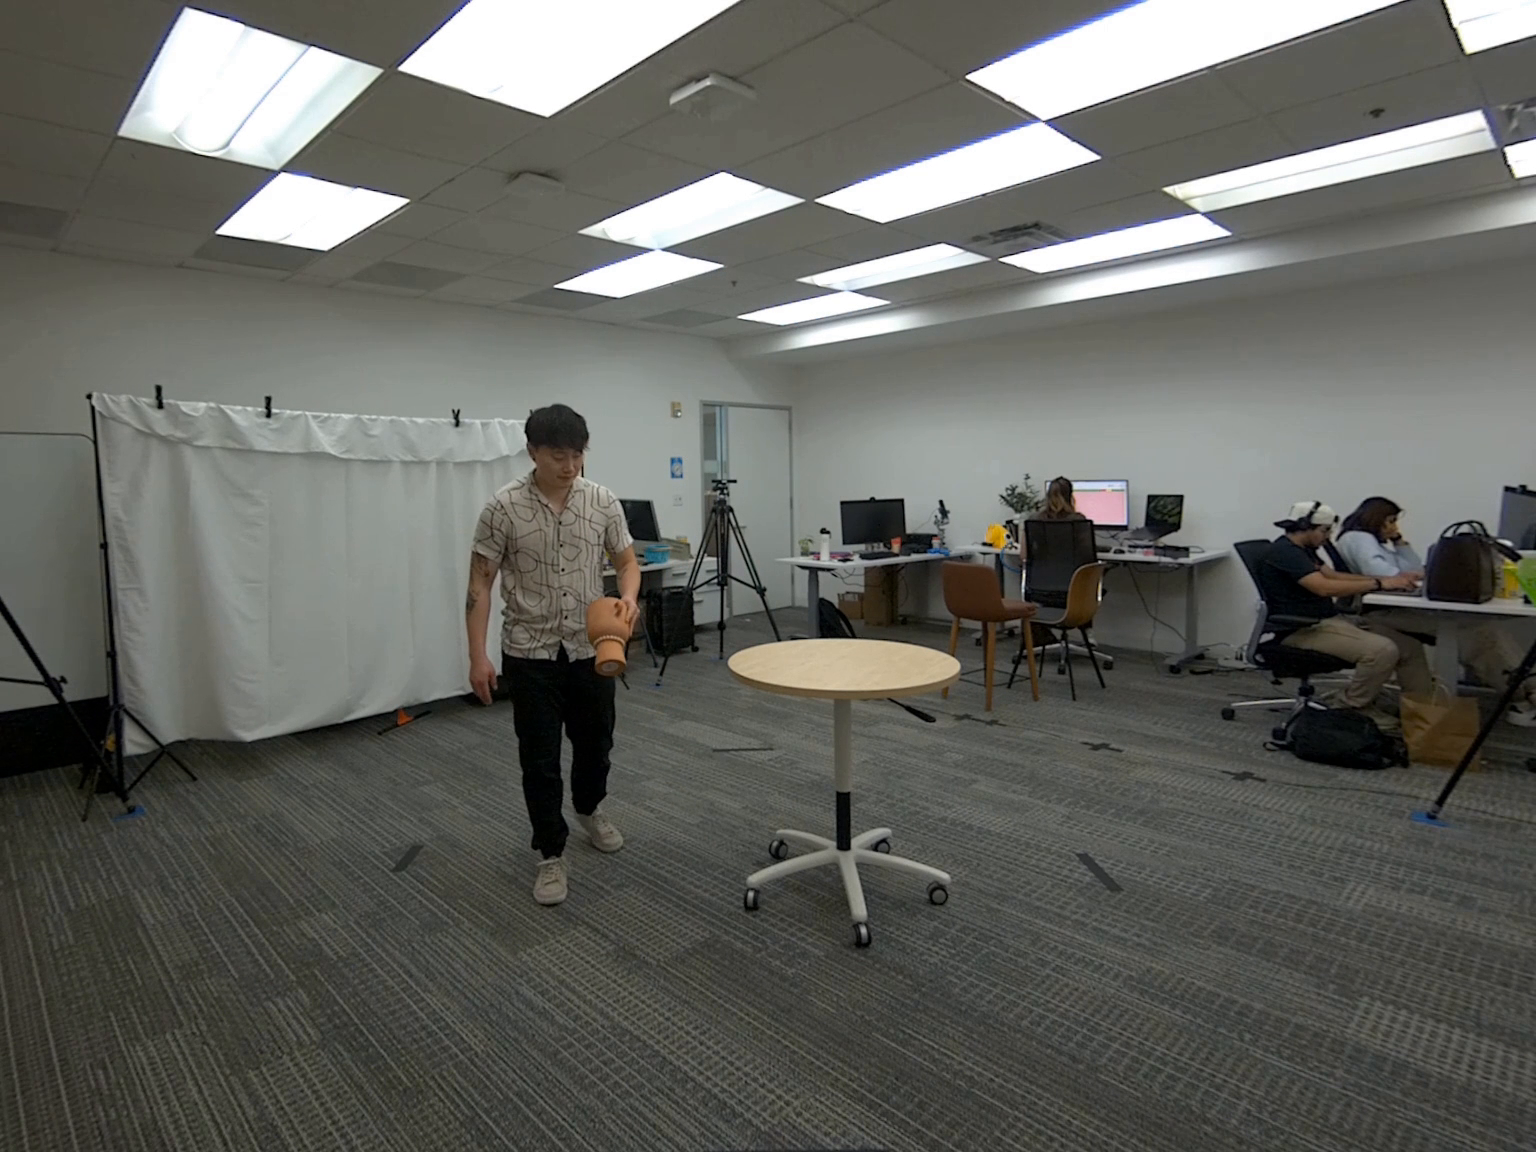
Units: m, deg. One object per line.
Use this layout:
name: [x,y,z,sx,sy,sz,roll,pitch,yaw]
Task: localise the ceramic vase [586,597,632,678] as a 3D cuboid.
ceramic vase: [-0.506,0.197,2.682,0.135,0.227,0.154,-11,-38,0]
